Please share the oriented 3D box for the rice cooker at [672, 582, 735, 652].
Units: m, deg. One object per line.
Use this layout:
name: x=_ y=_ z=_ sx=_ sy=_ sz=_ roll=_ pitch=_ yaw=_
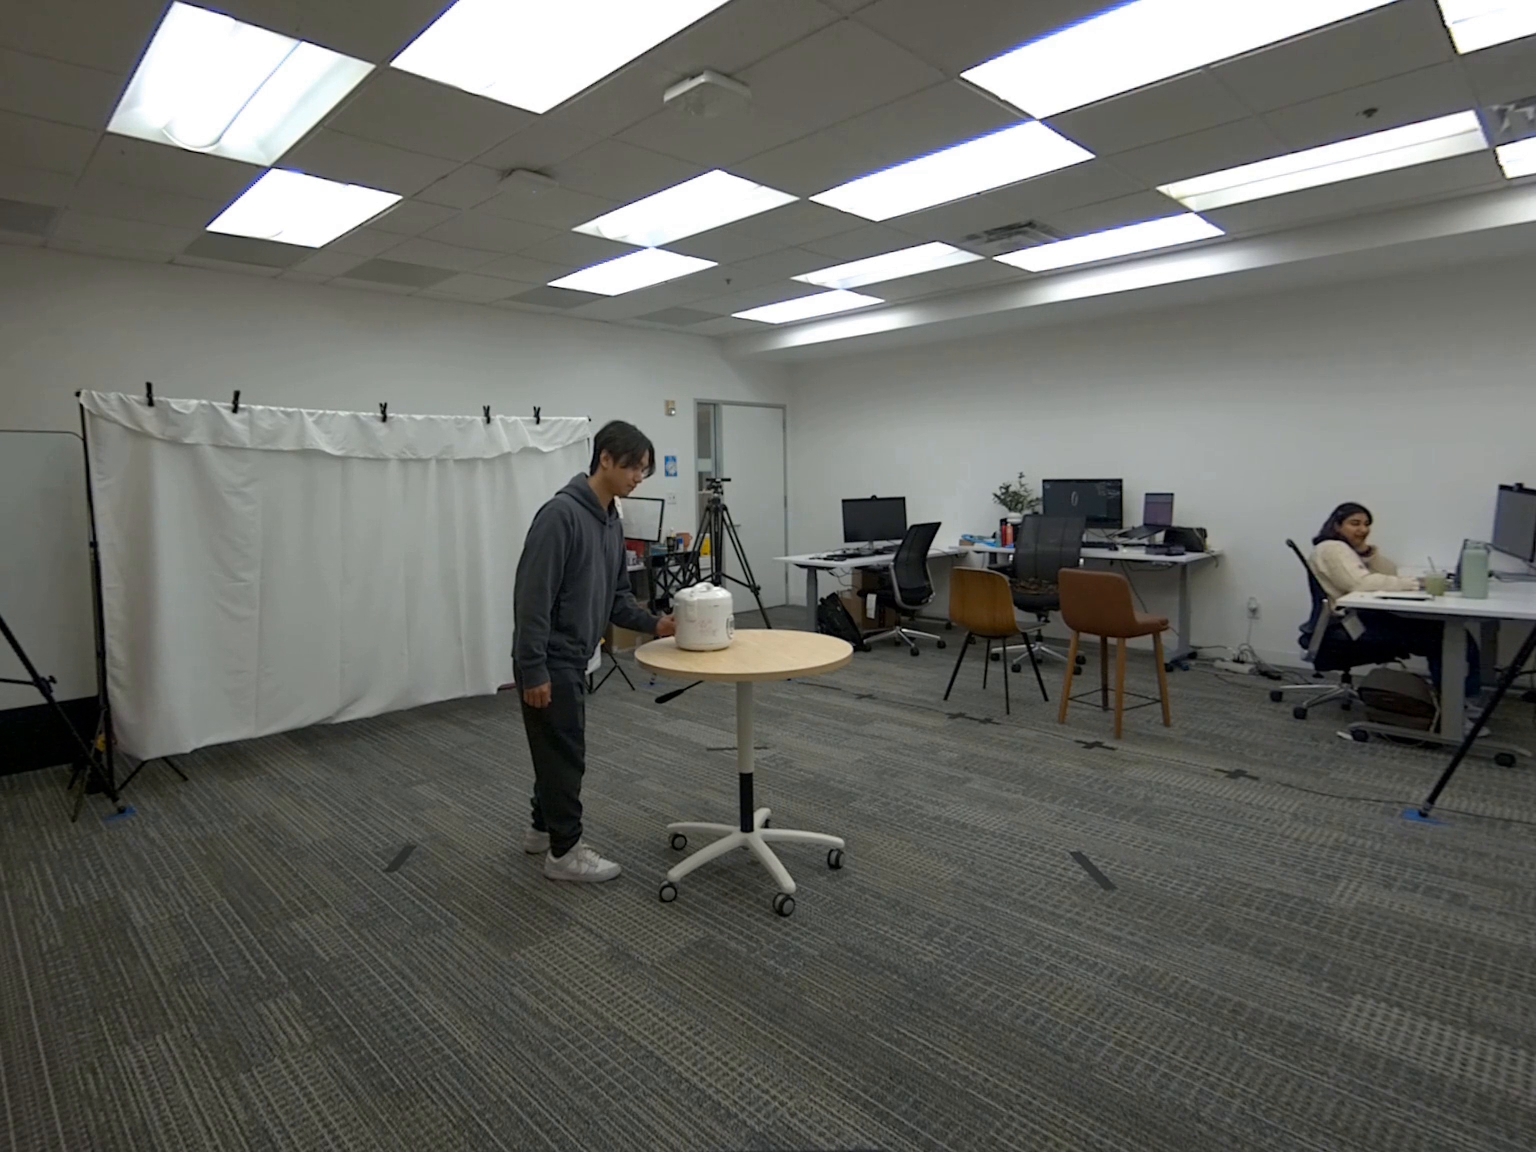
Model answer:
rice cooker: x=-0.229 y=0.139 z=3.049 sx=0.222 sy=0.232 sz=0.217 roll=-1 pitch=5 yaw=23
